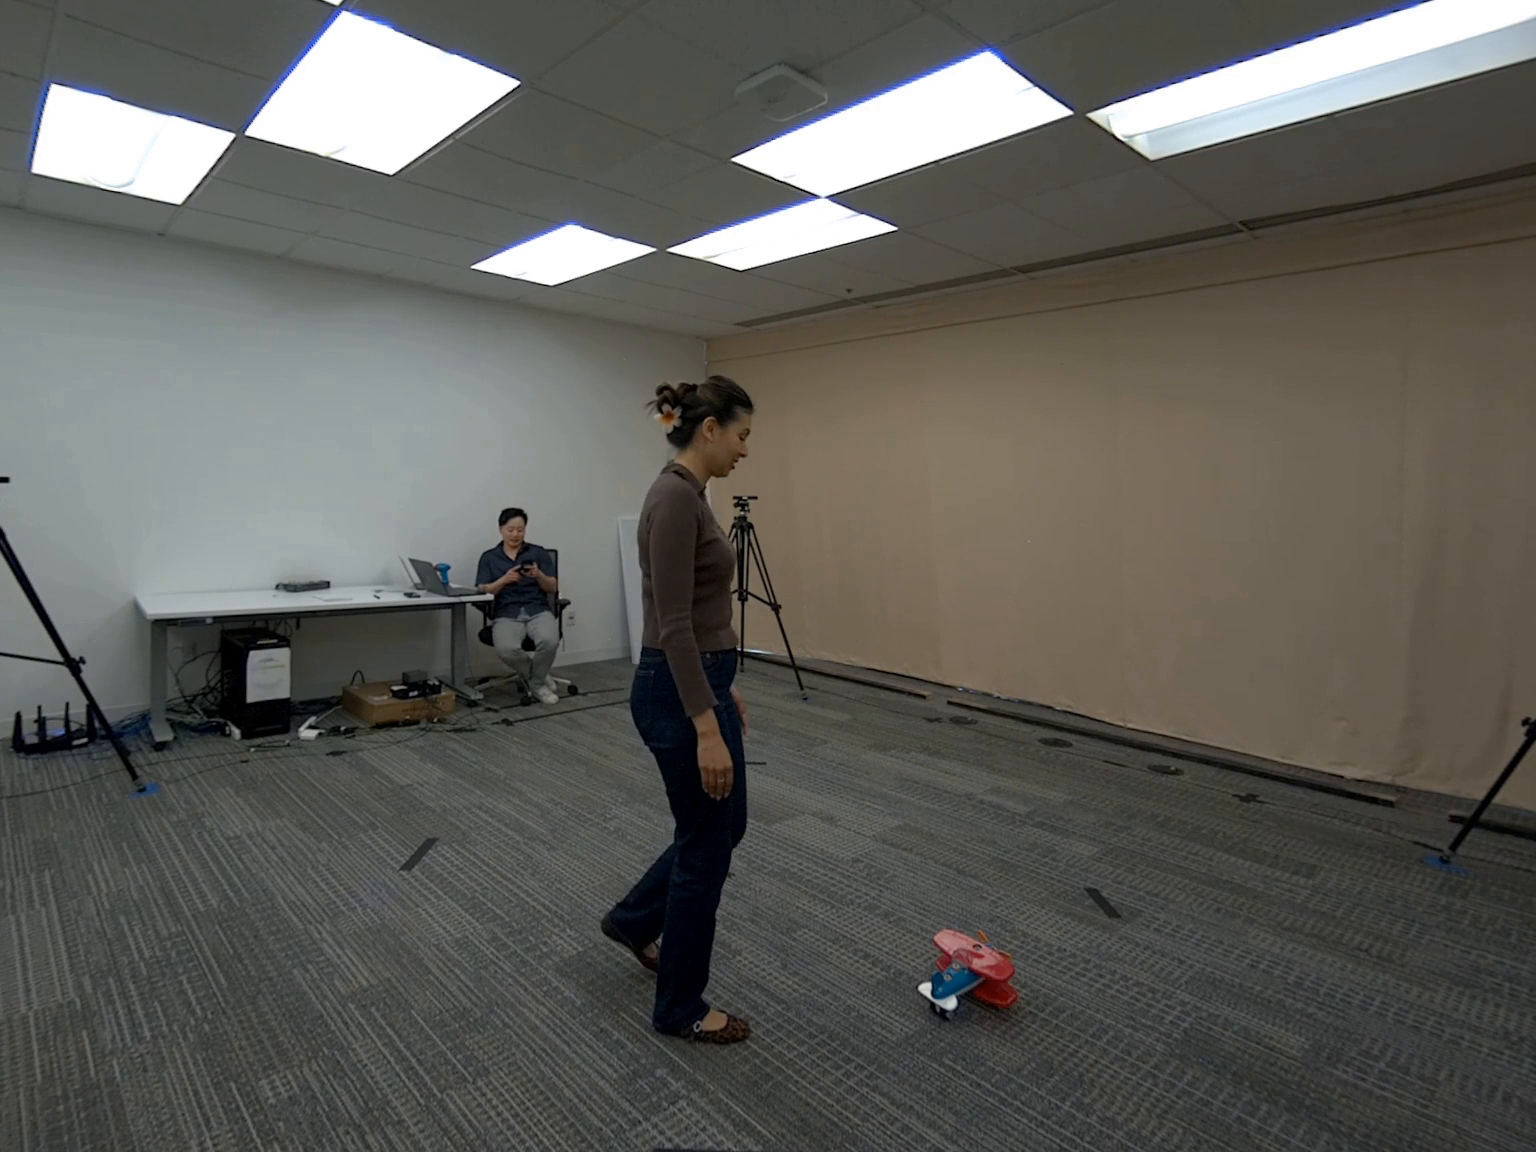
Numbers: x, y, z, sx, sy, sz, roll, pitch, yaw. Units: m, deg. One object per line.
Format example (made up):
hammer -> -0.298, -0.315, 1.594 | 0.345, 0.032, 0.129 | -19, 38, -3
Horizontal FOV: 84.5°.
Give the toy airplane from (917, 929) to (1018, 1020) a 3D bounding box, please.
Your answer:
toy airplane -> 0.554, 1.118, 2.323 | 0.256, 0.156, 0.254 | 4, 4, 27
